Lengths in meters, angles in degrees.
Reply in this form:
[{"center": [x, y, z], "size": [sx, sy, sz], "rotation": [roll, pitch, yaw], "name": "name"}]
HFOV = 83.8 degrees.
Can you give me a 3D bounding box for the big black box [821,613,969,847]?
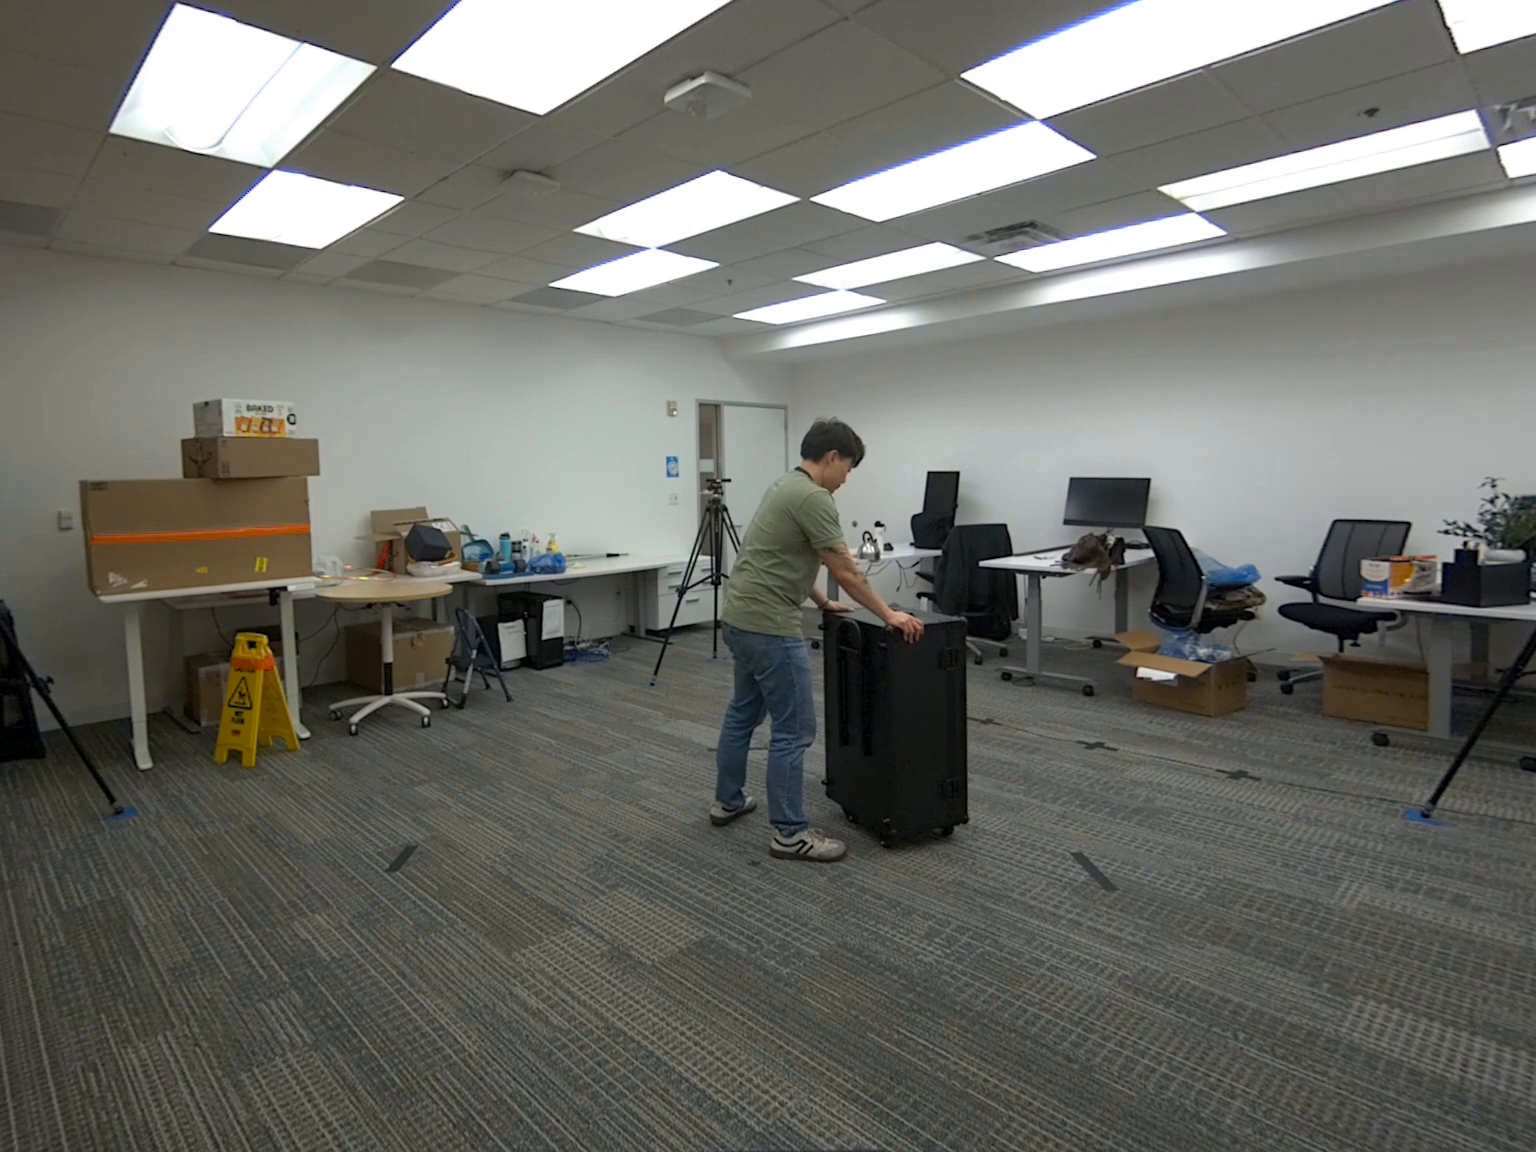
[{"center": [0.490, 0.576, 3.386], "size": [0.388, 0.858, 0.534], "rotation": [-3, 5, -24], "name": "big black box"}]
